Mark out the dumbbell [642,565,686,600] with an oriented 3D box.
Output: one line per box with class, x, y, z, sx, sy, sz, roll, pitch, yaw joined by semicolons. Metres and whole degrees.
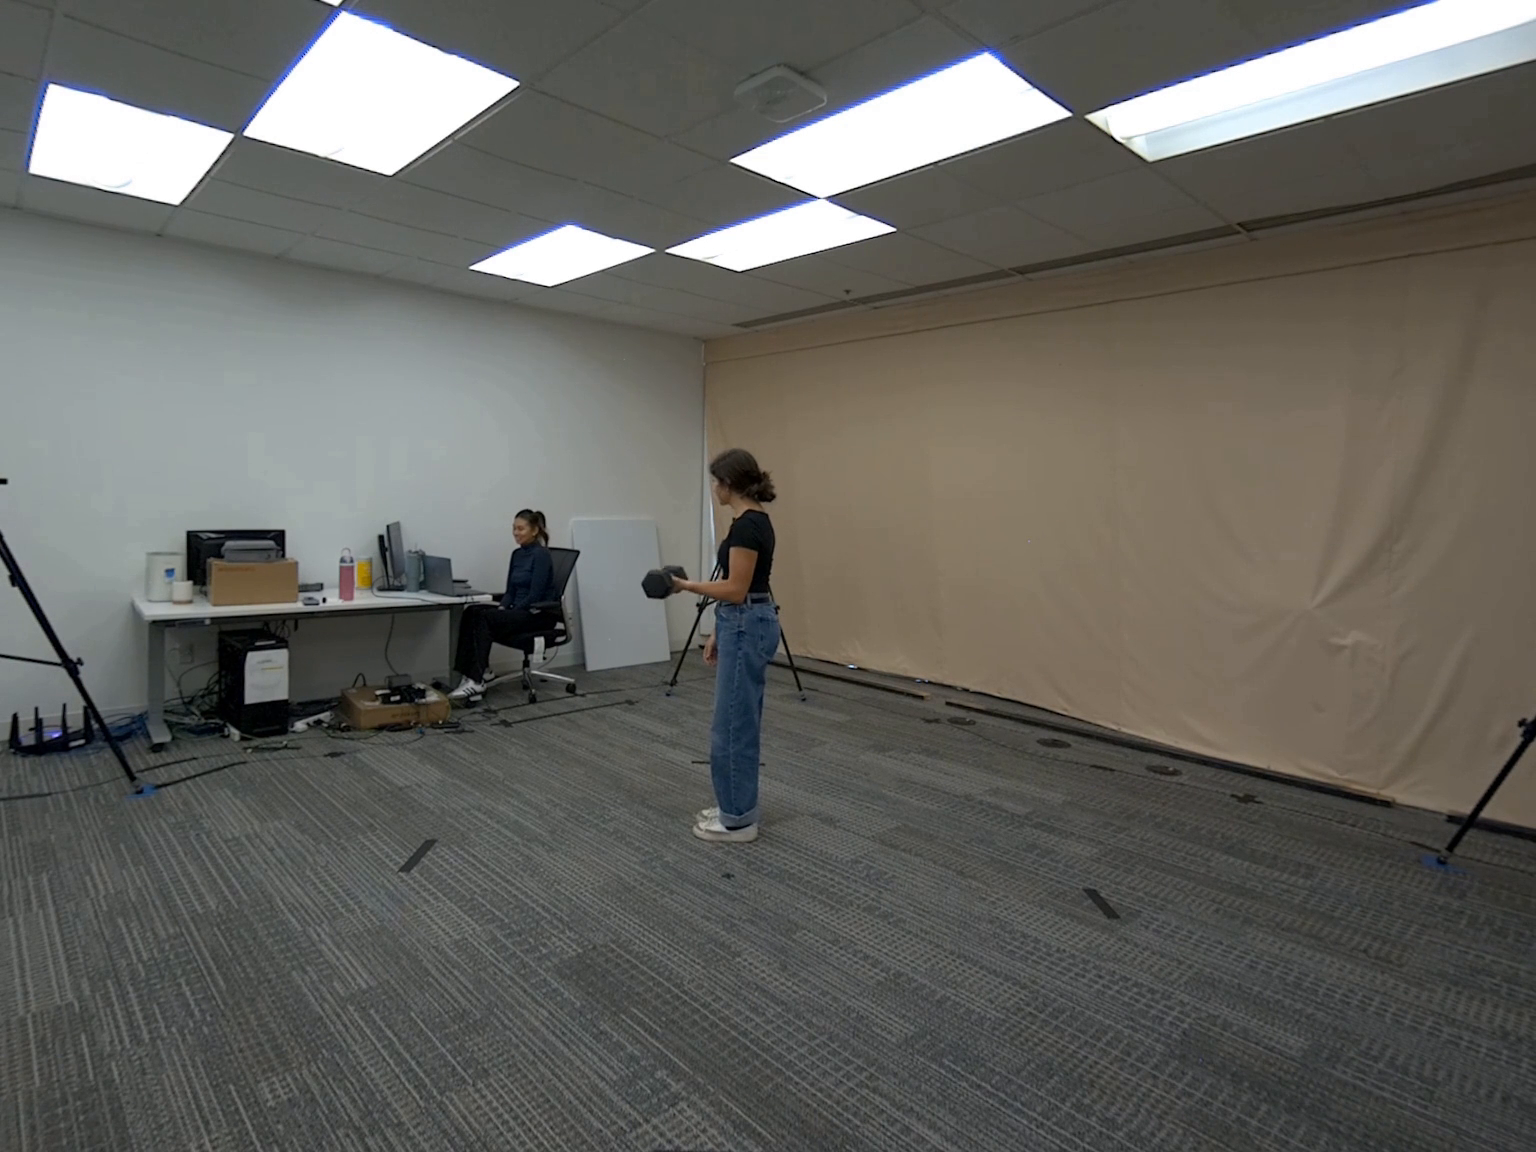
dumbbell;-0.403;0.022;3.352;0.124;0.108;0.292;5;5;8
